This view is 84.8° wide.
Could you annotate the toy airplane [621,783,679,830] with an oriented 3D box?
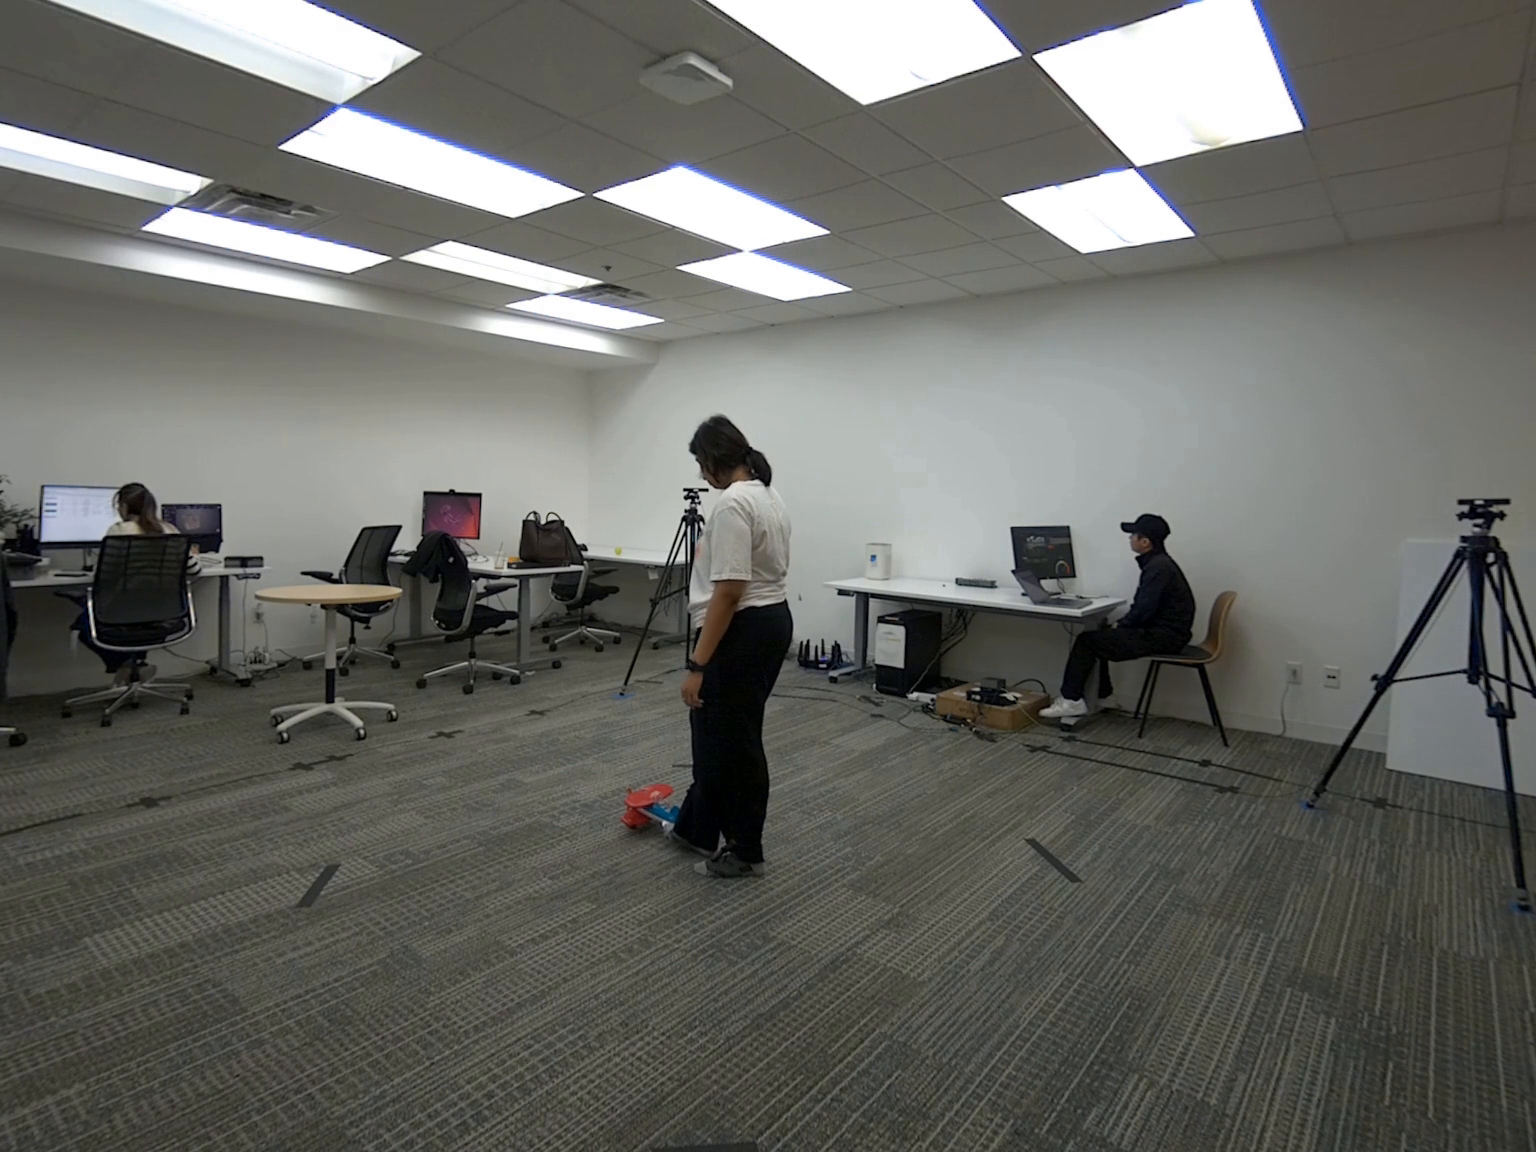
[{"bbox_3d":[-0.472,0.953,3.475,0.262,0.156,0.249,0,4,8],"label":"toy airplane"}]
